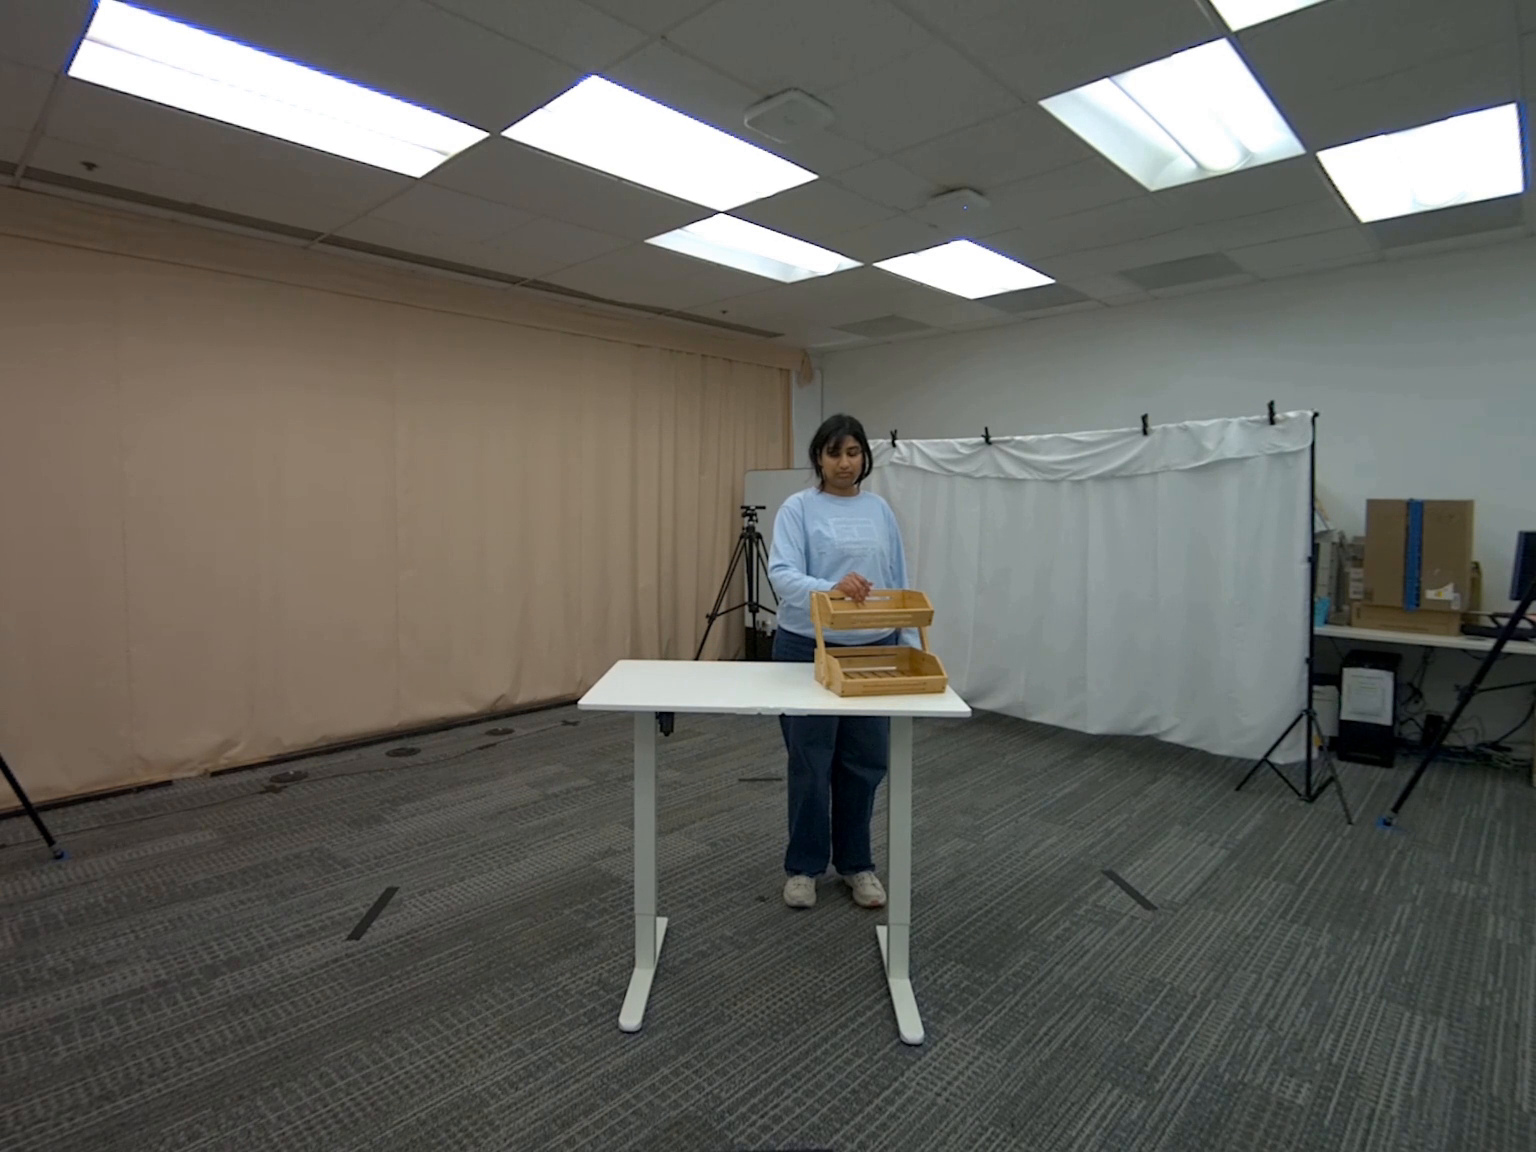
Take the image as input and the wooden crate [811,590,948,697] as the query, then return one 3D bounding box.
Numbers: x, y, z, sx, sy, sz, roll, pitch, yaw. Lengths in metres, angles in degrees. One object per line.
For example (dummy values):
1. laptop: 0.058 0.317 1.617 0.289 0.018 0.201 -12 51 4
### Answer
1. wooden crate: 0.314 0.182 2.394 0.321 0.273 0.306 -1 4 -12
